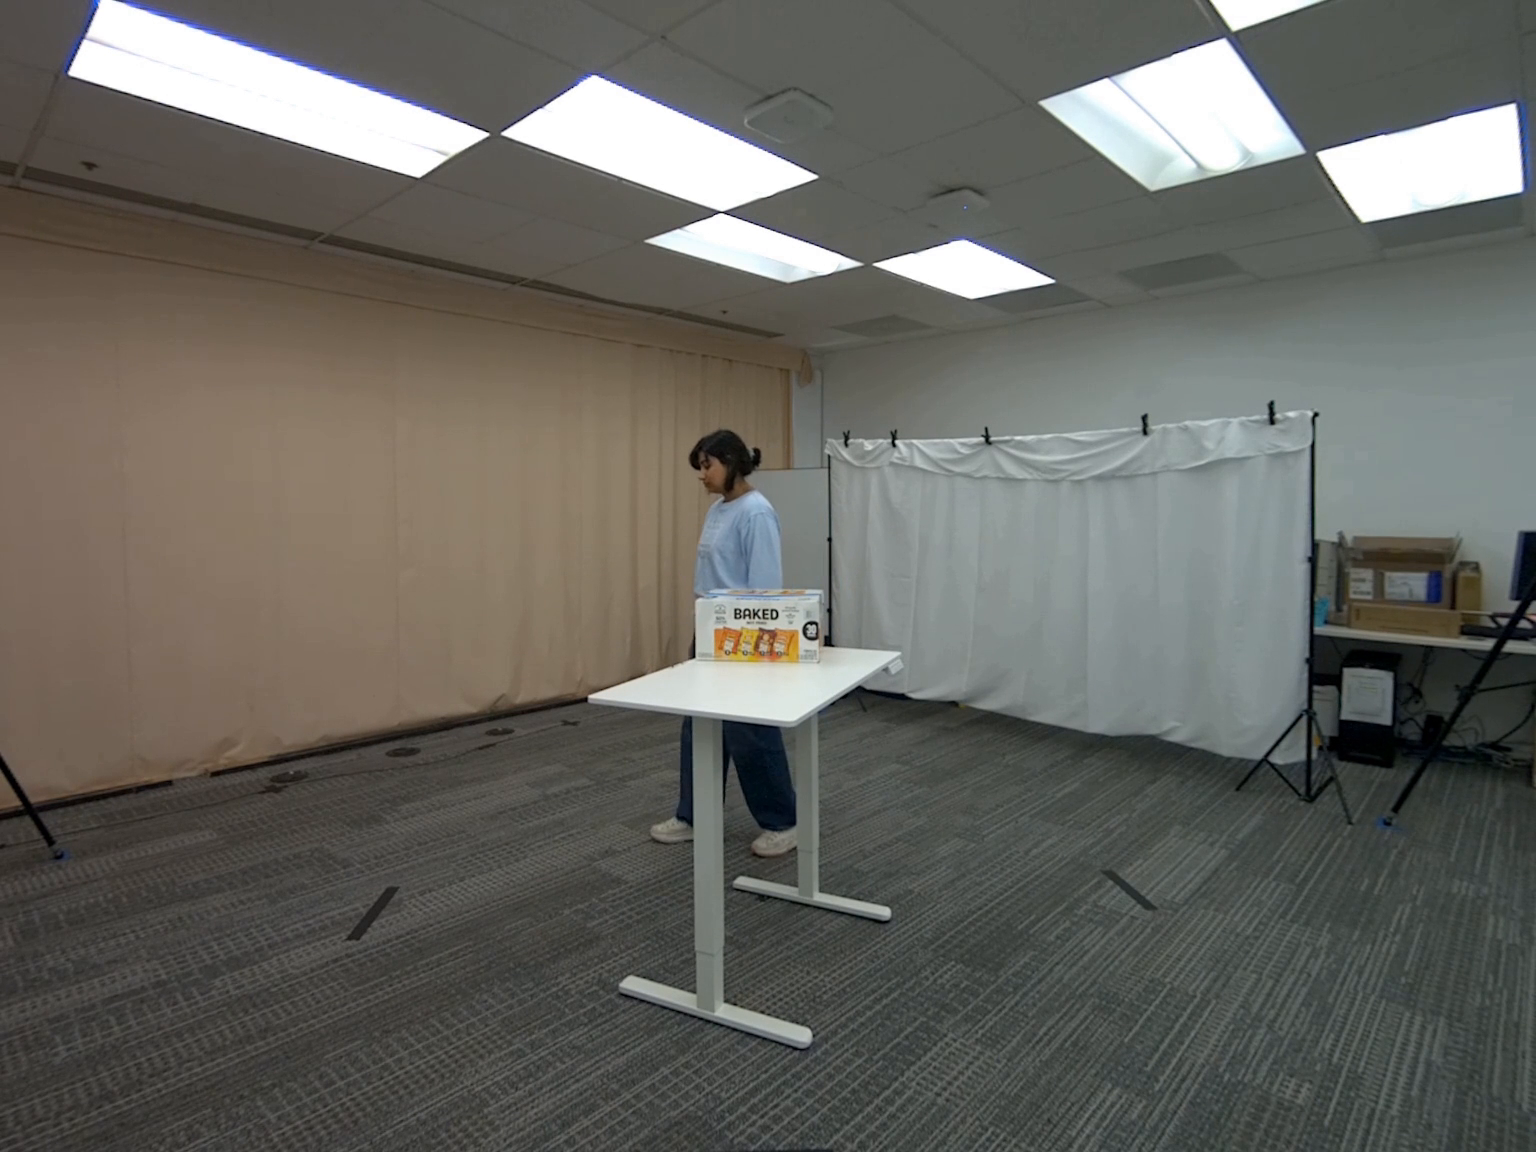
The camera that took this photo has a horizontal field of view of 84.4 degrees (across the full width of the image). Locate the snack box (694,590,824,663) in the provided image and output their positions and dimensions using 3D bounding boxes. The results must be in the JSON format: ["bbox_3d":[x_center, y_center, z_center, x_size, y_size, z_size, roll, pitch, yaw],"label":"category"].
[{"bbox_3d":[-0.016,0.166,2.909,0.409,0.205,0.337,0,4,9],"label":"snack box"}]
